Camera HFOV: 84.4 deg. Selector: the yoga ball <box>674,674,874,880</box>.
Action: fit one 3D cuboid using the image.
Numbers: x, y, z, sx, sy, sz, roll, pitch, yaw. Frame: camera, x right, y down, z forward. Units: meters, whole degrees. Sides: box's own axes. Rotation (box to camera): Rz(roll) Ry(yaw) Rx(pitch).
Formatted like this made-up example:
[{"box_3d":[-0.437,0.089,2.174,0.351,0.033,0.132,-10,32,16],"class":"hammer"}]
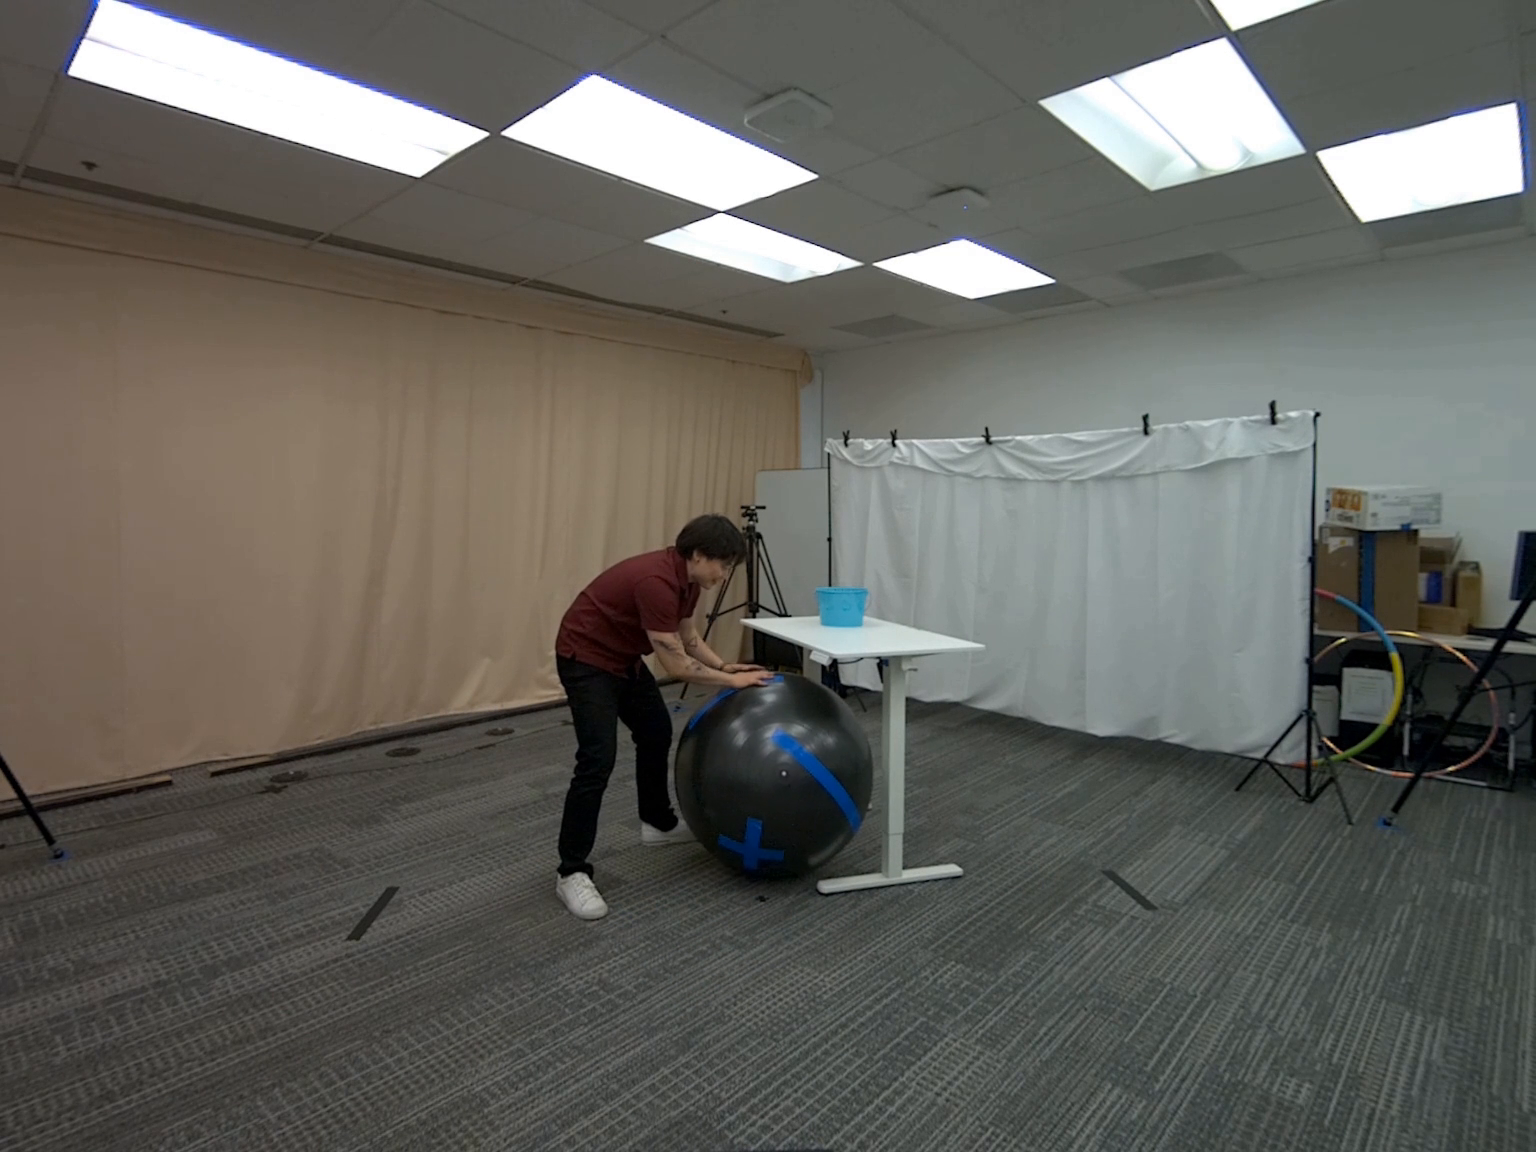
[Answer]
[{"box_3d":[0.026,0.759,3.227,0.757,0.756,0.760,0,4,-2],"class":"yoga ball"}]
